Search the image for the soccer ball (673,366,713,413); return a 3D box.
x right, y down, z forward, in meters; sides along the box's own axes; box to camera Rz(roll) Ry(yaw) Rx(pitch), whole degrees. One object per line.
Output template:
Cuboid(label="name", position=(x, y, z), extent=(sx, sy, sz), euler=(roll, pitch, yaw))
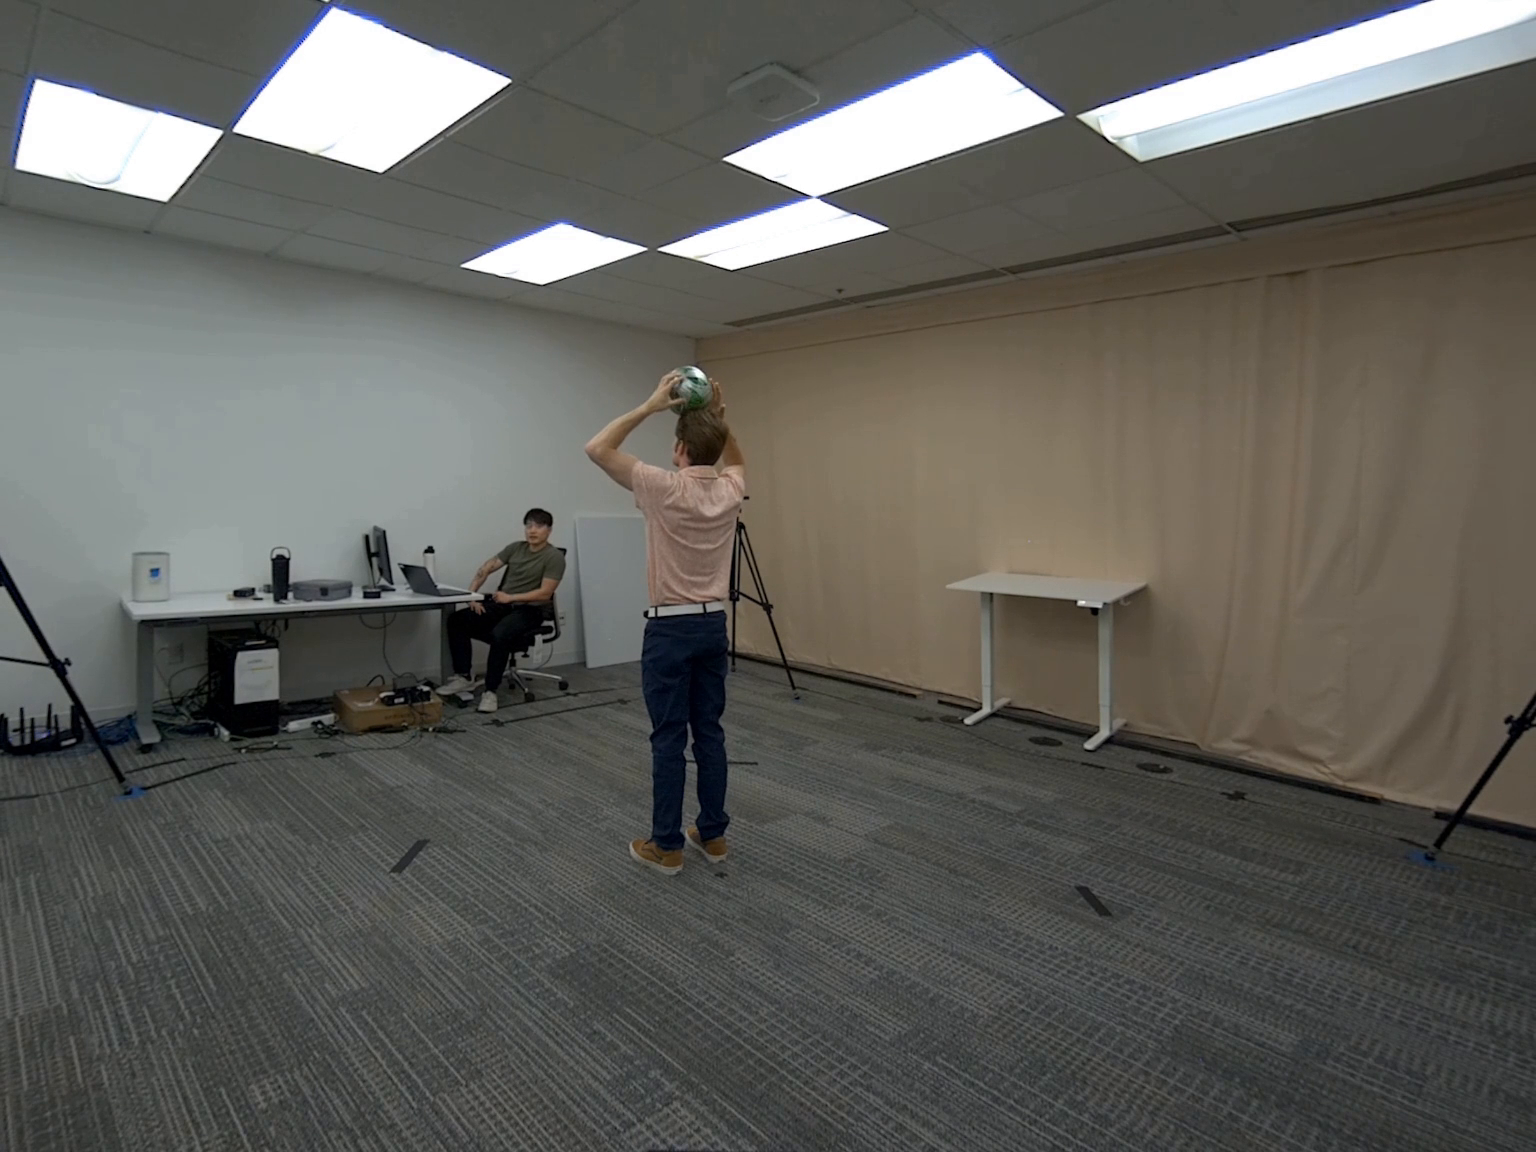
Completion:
Cuboid(label="soccer ball", position=(-0.314, -0.701, 3.173), extent=(0.187, 0.187, 0.188), euler=(1, 4, -1))
